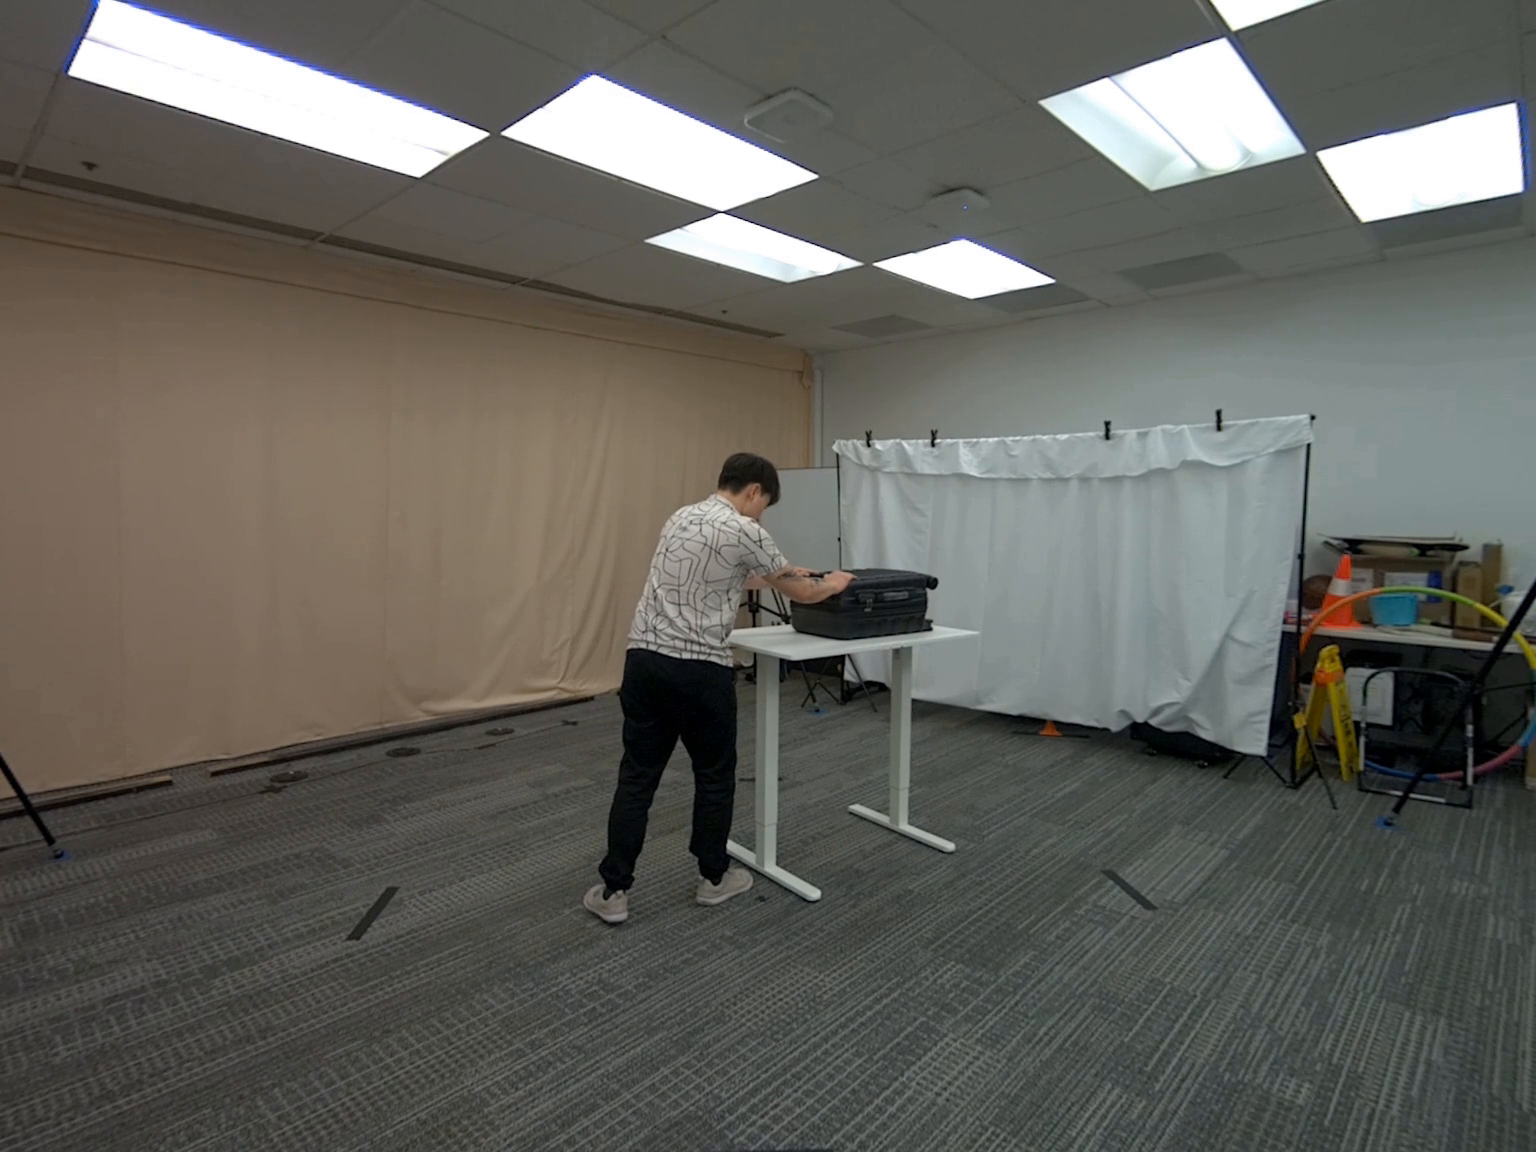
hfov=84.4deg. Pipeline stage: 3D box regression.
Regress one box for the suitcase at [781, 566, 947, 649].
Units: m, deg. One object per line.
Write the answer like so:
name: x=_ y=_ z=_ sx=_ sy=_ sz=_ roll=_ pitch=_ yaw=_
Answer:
suitcase: x=0.383 y=0.111 z=3.397 sx=0.533 sy=0.247 sz=0.388 roll=-4 pitch=6 yaw=-38
